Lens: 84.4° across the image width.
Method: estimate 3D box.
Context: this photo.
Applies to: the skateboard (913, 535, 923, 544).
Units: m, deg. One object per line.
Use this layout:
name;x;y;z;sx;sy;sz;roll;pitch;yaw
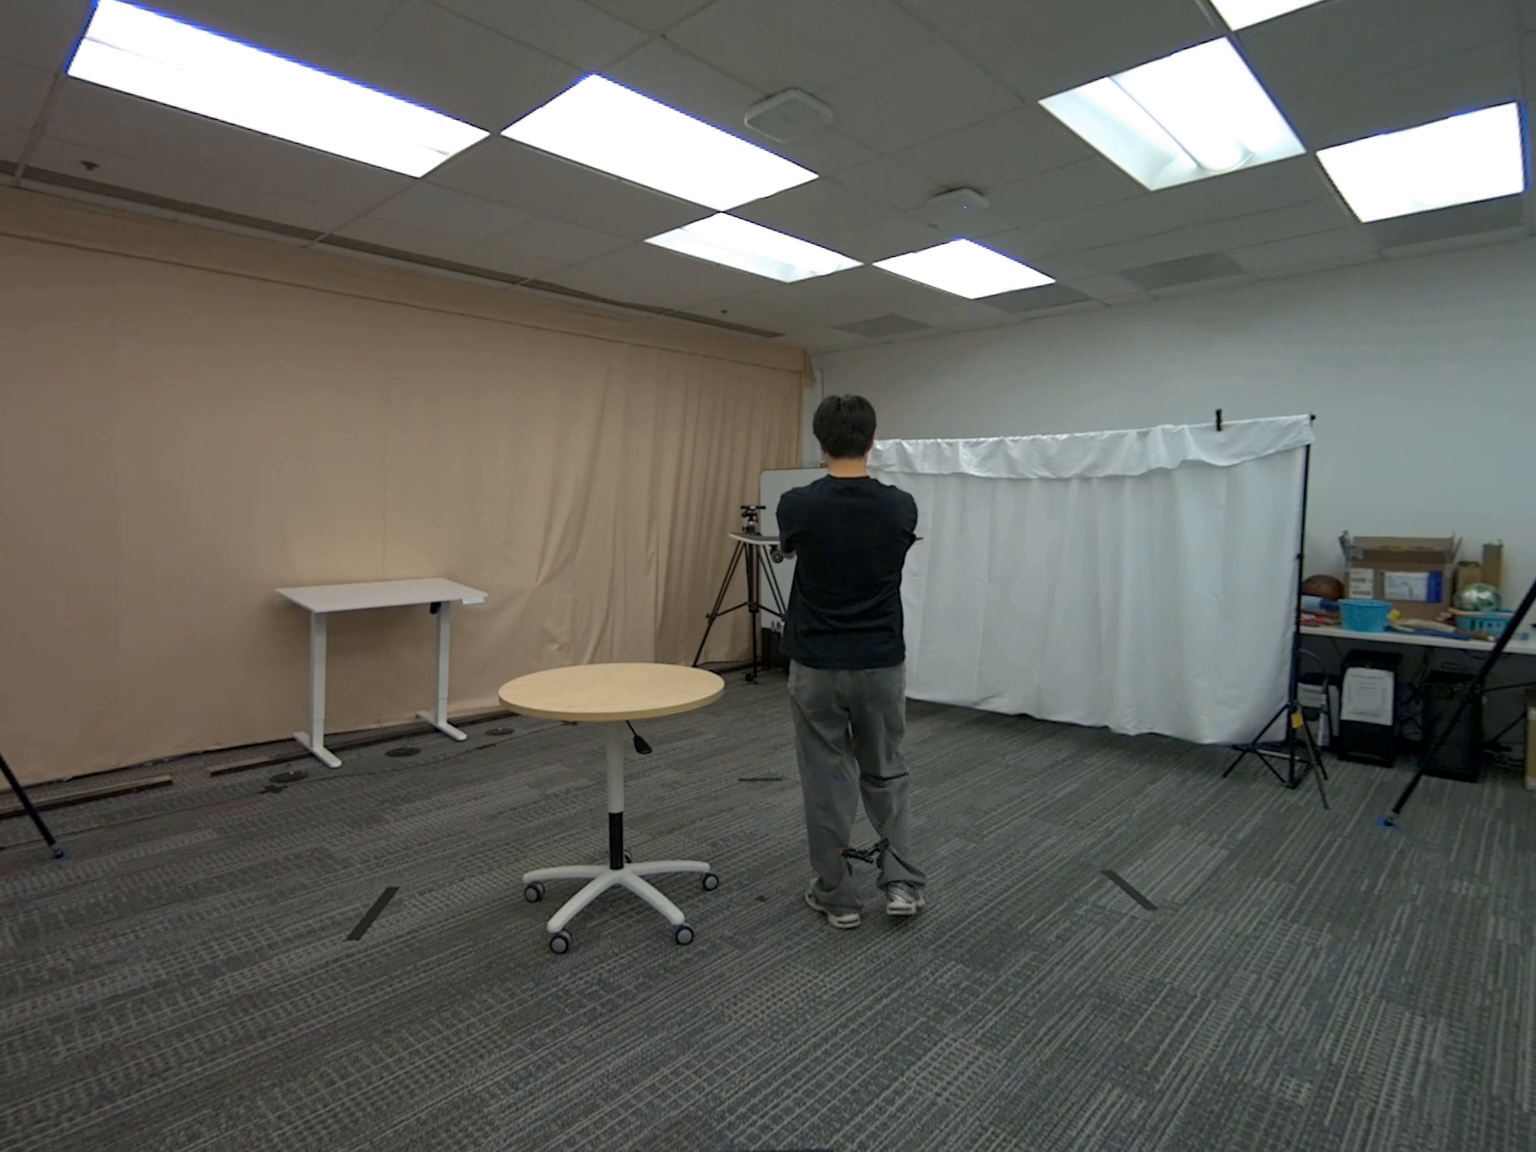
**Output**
skateboard;0.237;-0.109;3.408;0.789;0.110;0.193;1;8;3
